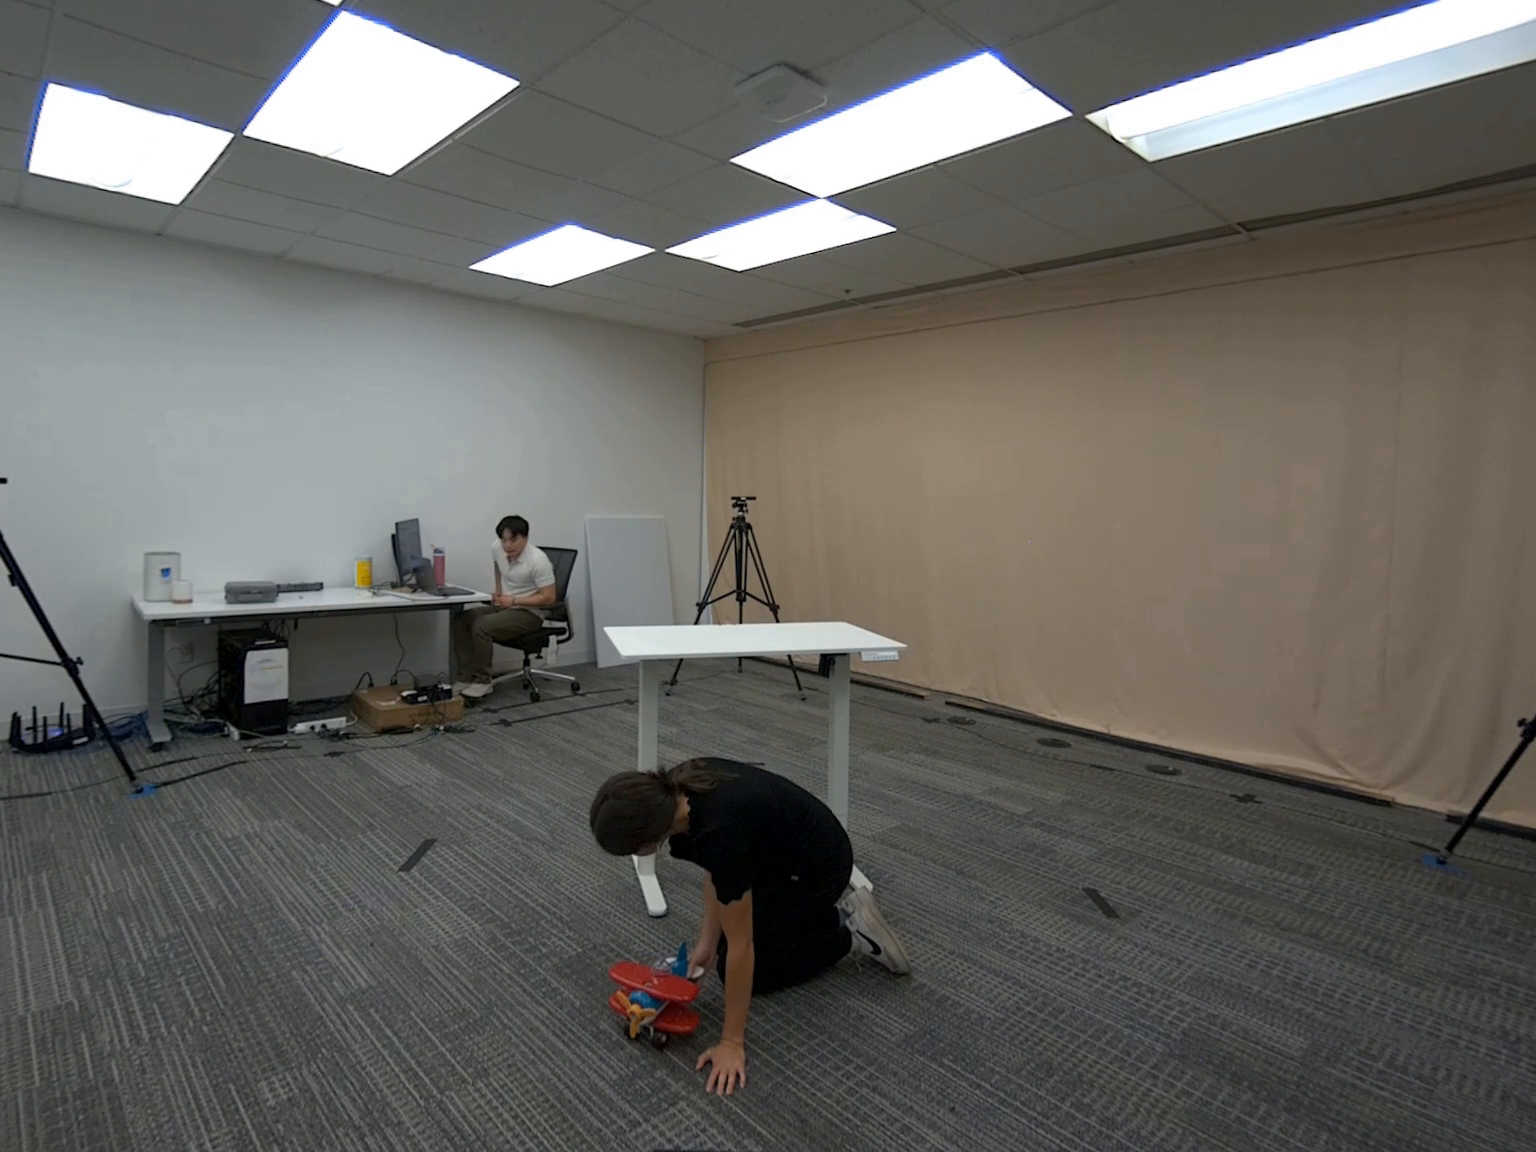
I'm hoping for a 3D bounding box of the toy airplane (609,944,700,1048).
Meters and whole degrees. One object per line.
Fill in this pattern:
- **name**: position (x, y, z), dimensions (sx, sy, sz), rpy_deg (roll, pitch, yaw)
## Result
- **toy airplane**: position (-0.298, 1.092, 2.203), dimensions (0.251, 0.154, 0.263), rpy_deg (-7, 20, -1)
